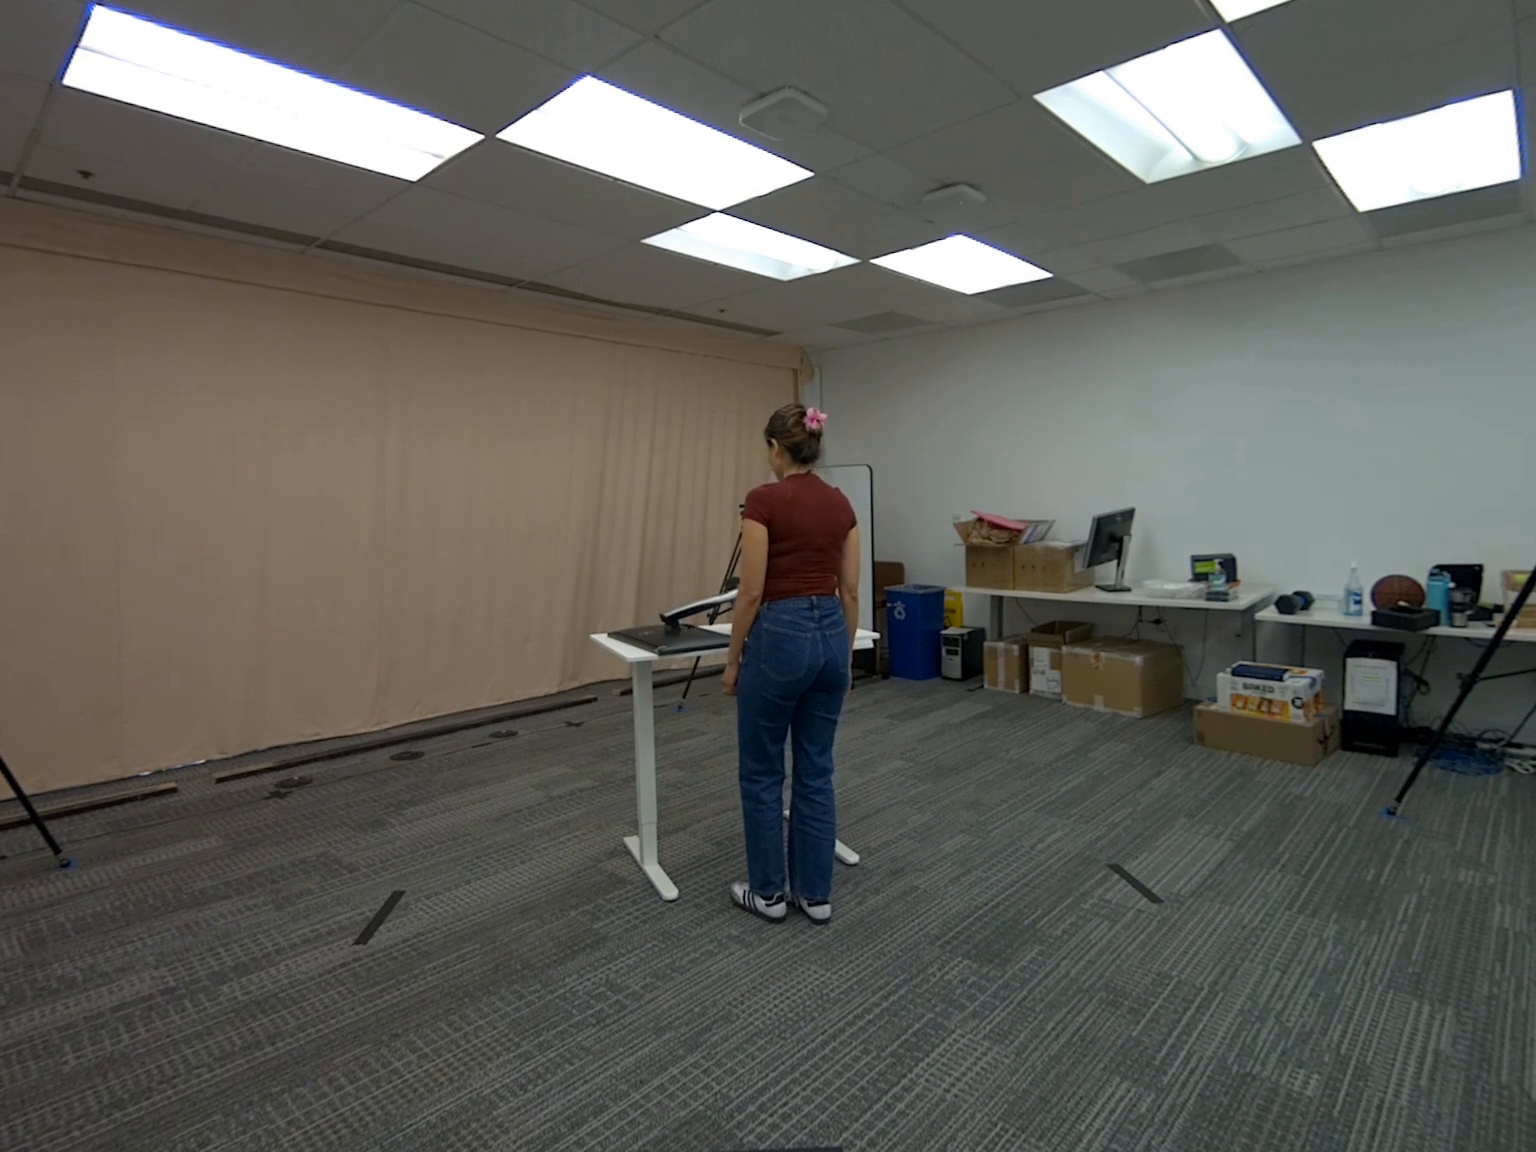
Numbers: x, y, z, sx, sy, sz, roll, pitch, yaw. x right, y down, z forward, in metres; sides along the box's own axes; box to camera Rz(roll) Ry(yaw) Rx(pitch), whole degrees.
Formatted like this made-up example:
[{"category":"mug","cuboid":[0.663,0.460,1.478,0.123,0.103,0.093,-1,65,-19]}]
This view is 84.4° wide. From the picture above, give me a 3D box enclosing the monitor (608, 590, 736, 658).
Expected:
[{"category":"monitor","cuboid":[-0.291,0.180,3.238,0.514,0.185,0.553,-23,13,-25]}]
